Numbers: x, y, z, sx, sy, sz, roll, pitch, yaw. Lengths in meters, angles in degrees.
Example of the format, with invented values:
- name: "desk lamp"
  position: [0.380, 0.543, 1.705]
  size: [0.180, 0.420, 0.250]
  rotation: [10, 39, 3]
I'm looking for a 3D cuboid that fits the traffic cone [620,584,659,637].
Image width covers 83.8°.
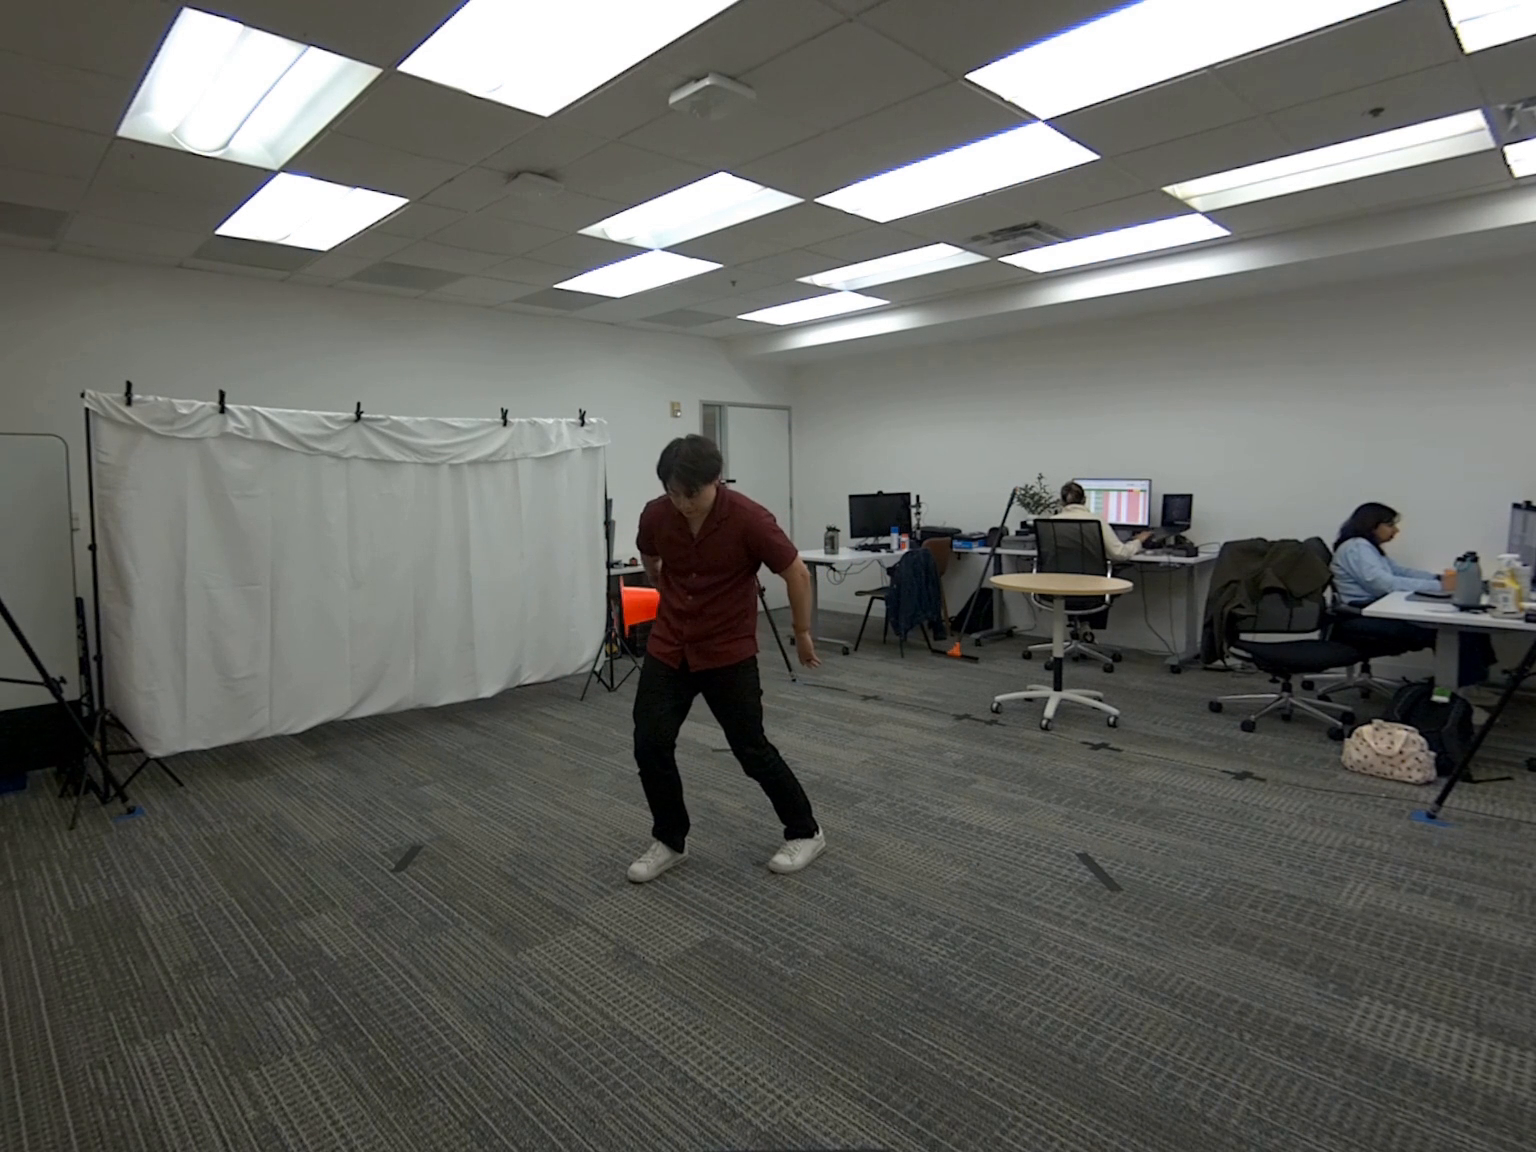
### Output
- name: "traffic cone"
  position: [-0.395, 0.119, 3.480]
  size: [0.382, 0.199, 0.209]
  rotation: [-4, 22, -4]
